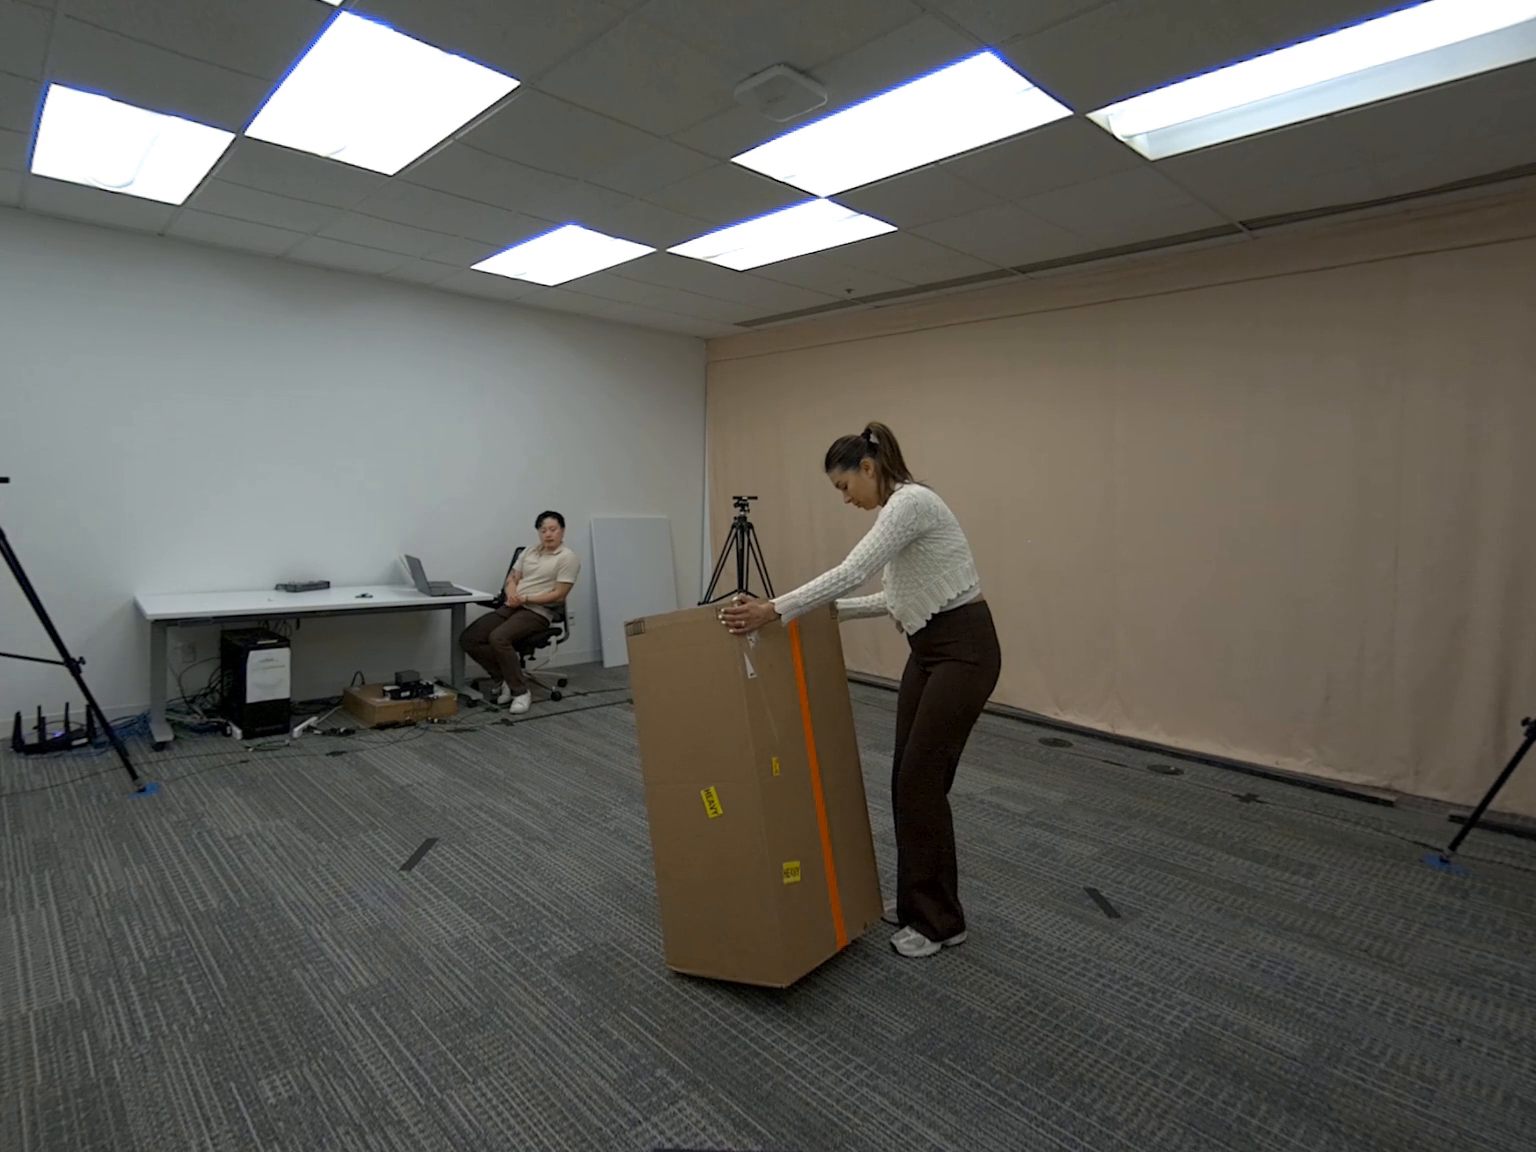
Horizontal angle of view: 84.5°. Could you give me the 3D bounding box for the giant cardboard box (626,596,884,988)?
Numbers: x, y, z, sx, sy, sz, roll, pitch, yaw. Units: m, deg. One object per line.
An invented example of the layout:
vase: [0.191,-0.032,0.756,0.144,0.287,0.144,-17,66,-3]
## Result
giant cardboard box: [-0.045,0.609,2.602,0.433,1.032,0.564,-13,-8,34]
